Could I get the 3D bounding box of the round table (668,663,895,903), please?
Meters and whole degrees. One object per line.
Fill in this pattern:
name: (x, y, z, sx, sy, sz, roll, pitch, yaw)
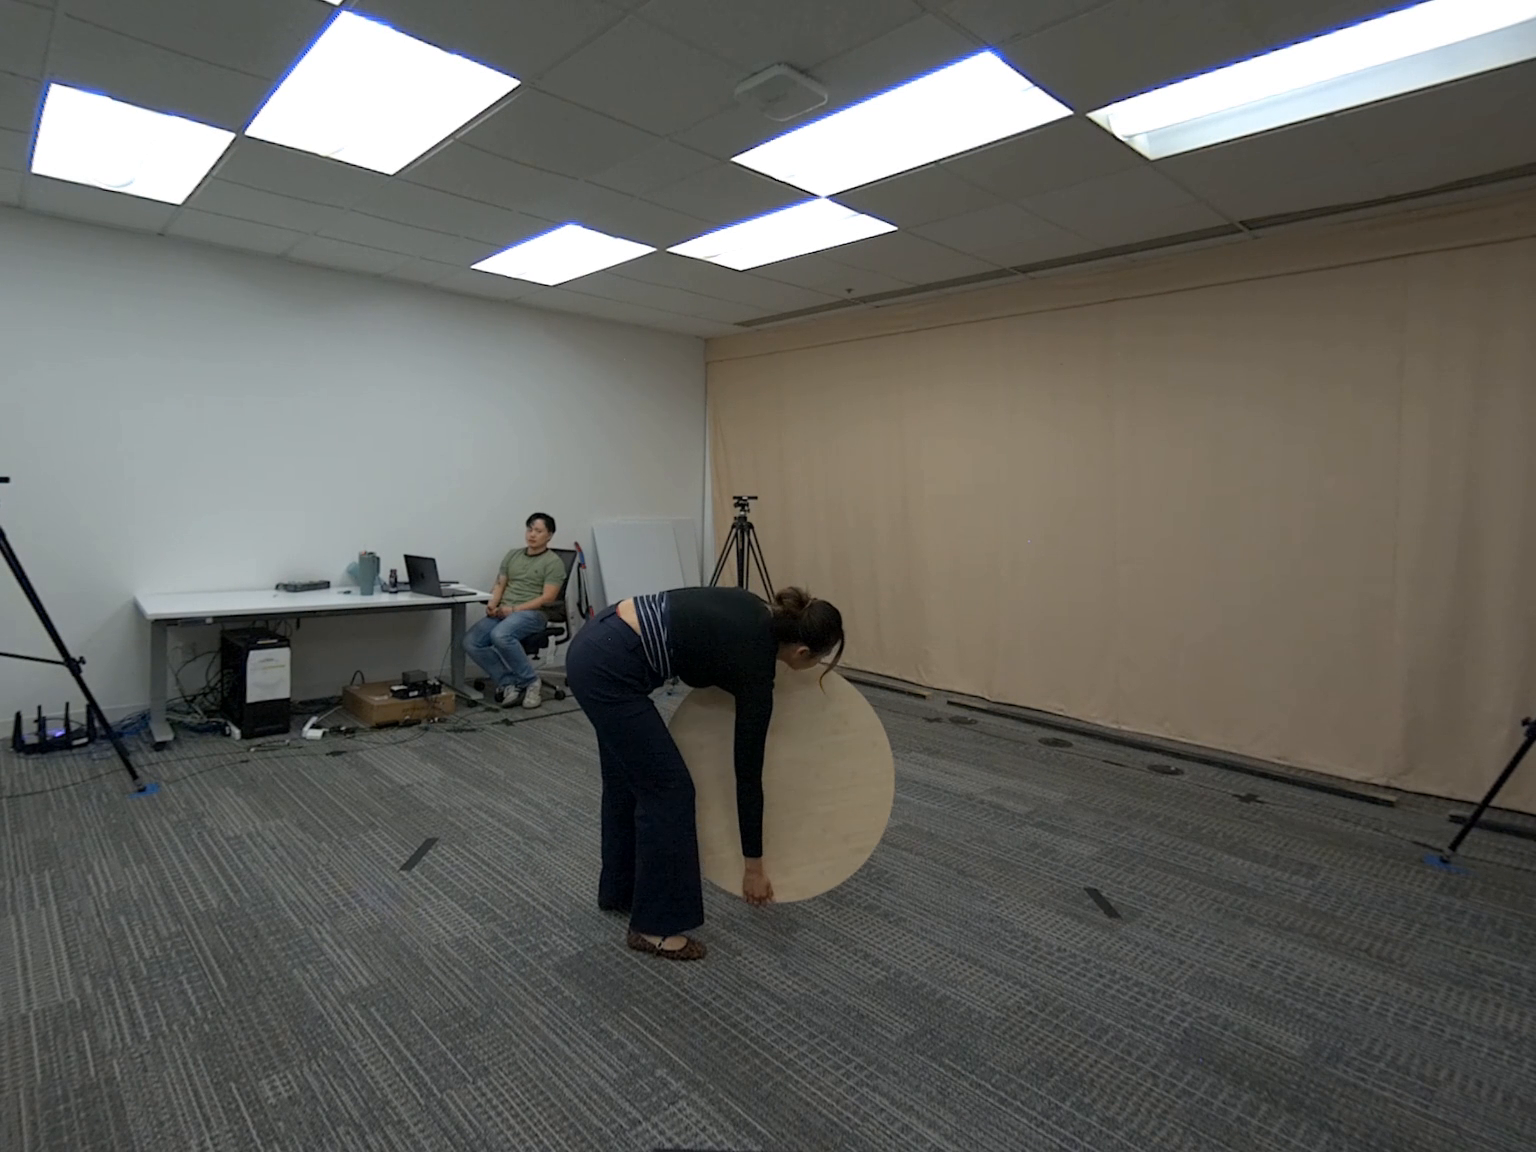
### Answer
round table: (0.025, 0.728, 3.082, 0.767, 0.772, 0.782, 2, -15, 3)
